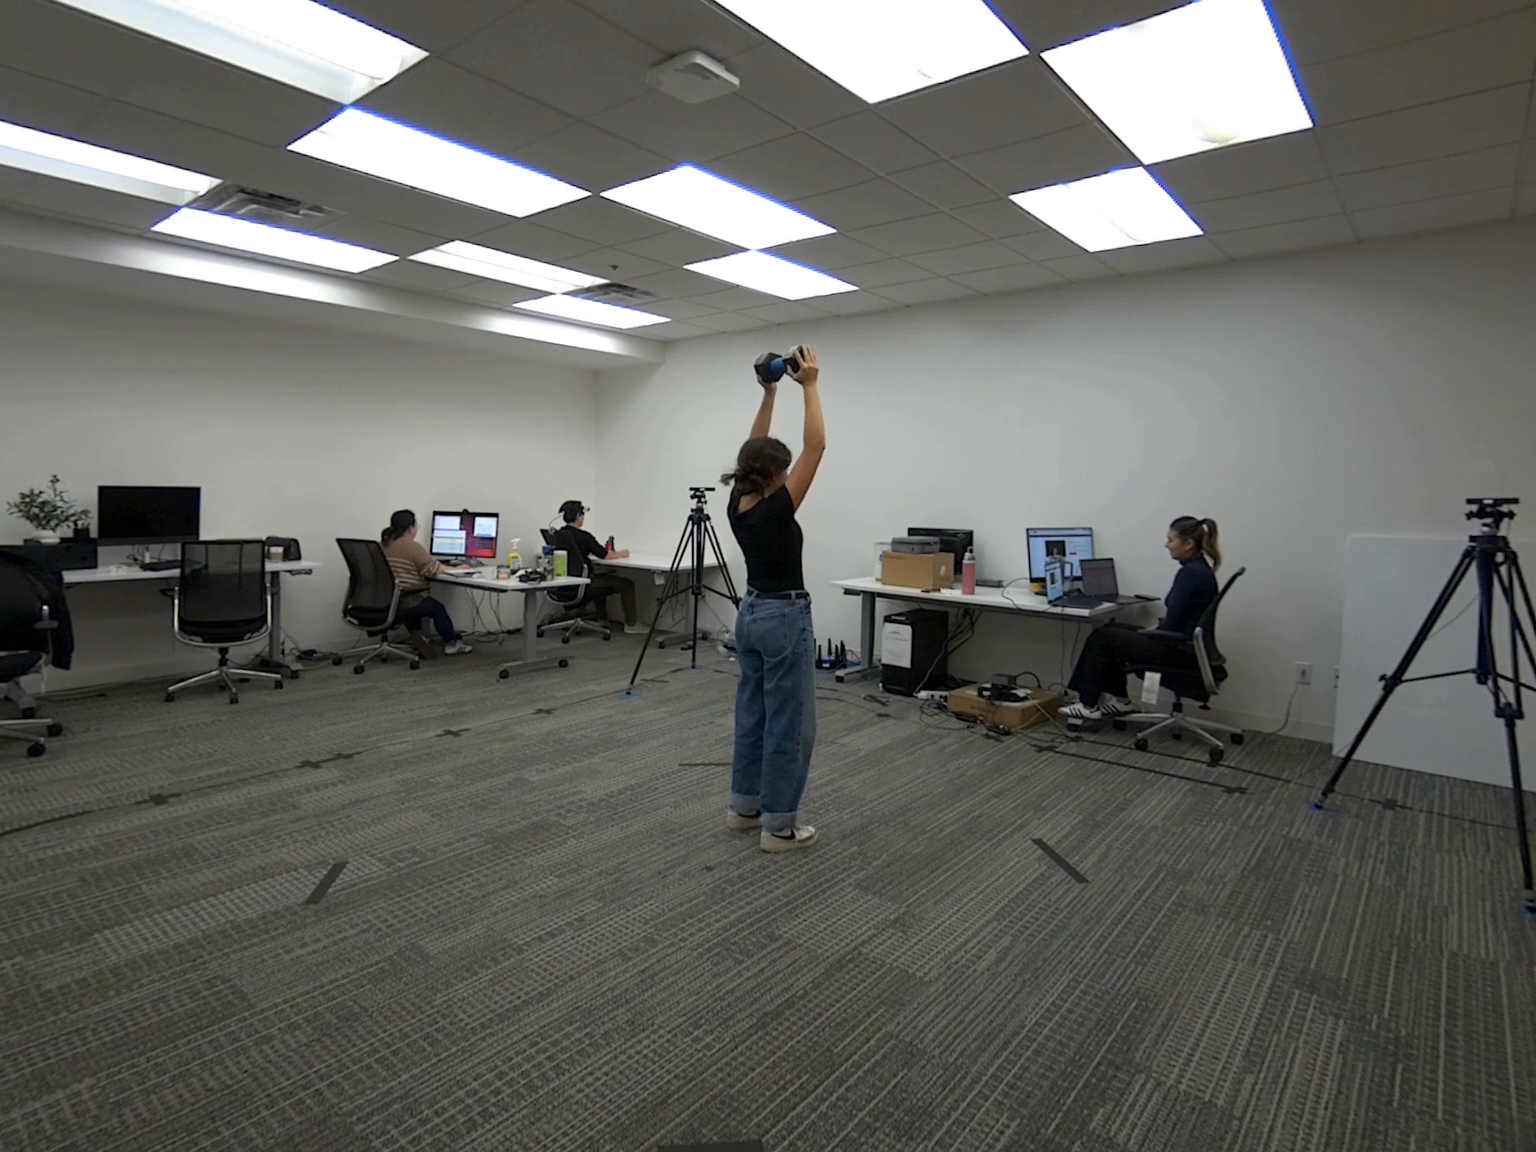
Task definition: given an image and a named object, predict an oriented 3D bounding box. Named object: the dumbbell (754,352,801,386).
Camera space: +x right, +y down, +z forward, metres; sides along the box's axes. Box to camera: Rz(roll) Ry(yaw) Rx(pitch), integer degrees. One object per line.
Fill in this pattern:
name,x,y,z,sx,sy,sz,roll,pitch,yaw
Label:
dumbbell,0.053,-0.822,3.323,0.105,0.123,0.303,44,-16,-27
